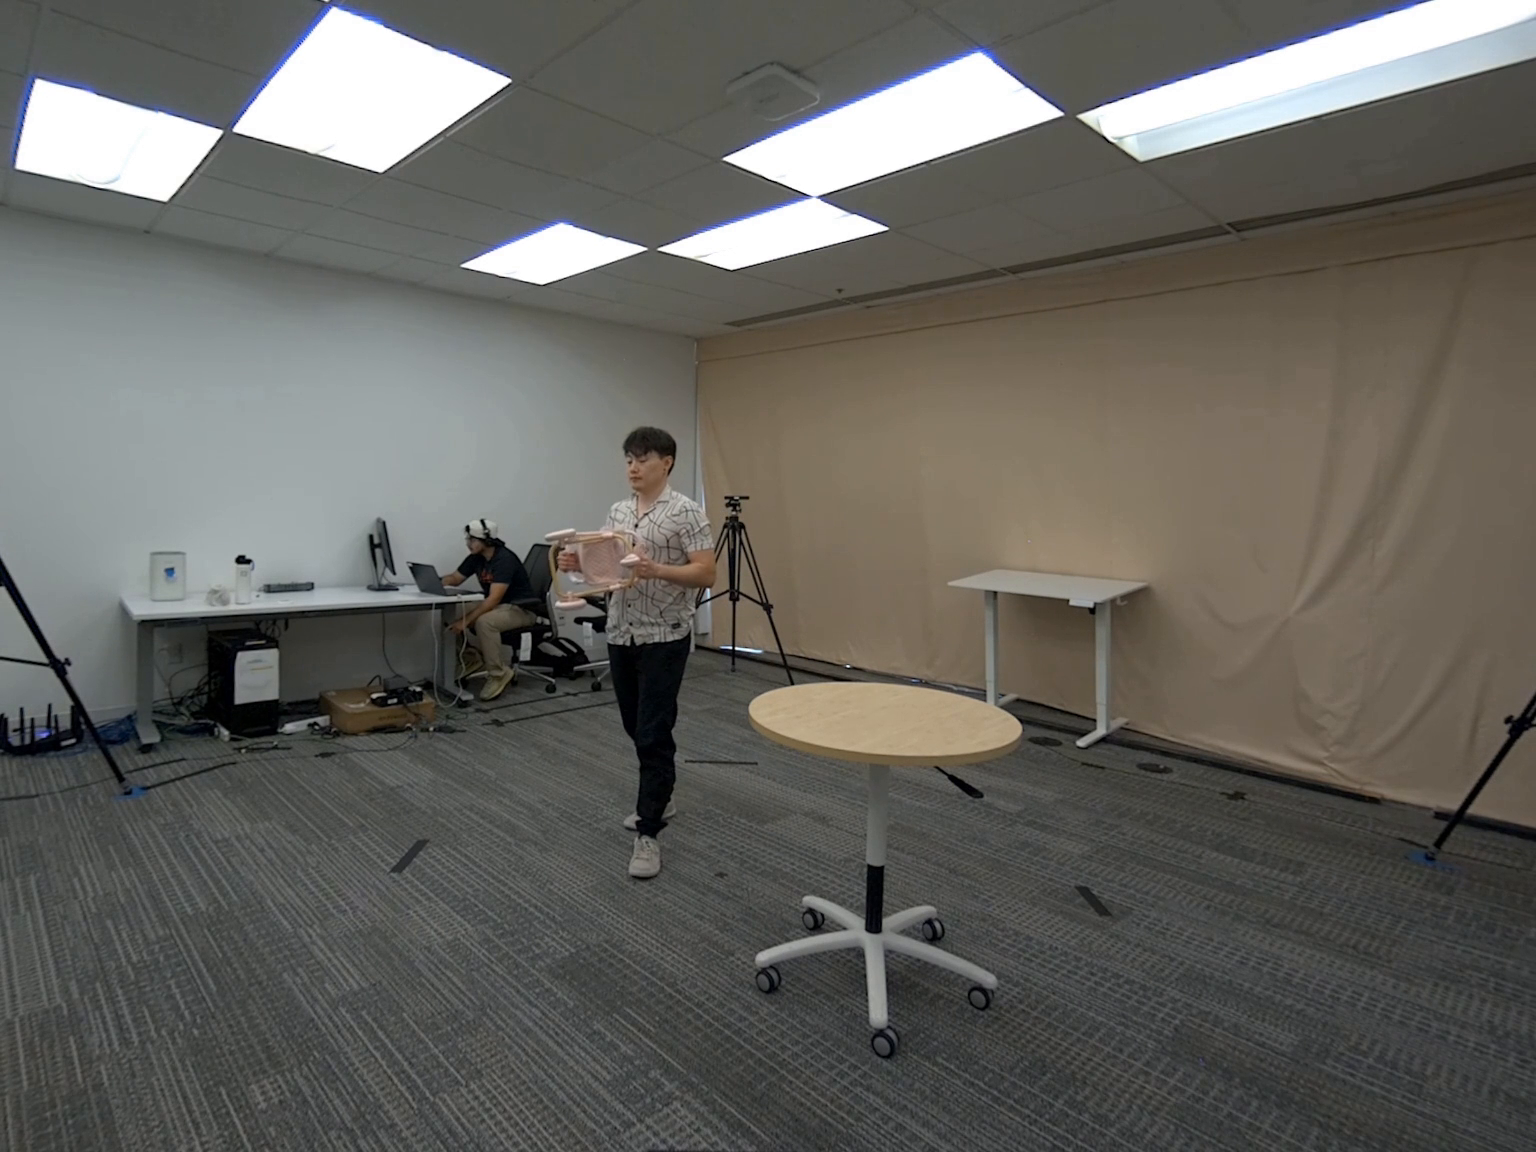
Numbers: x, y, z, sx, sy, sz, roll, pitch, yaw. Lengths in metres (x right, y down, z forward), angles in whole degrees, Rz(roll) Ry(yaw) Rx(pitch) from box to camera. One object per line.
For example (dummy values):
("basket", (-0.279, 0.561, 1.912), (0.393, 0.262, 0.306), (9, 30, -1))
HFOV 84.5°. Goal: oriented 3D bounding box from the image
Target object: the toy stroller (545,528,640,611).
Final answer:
("toy stroller", (-0.619, -0.062, 3.112), (0.341, 0.280, 0.539), (-12, 7, -3))
